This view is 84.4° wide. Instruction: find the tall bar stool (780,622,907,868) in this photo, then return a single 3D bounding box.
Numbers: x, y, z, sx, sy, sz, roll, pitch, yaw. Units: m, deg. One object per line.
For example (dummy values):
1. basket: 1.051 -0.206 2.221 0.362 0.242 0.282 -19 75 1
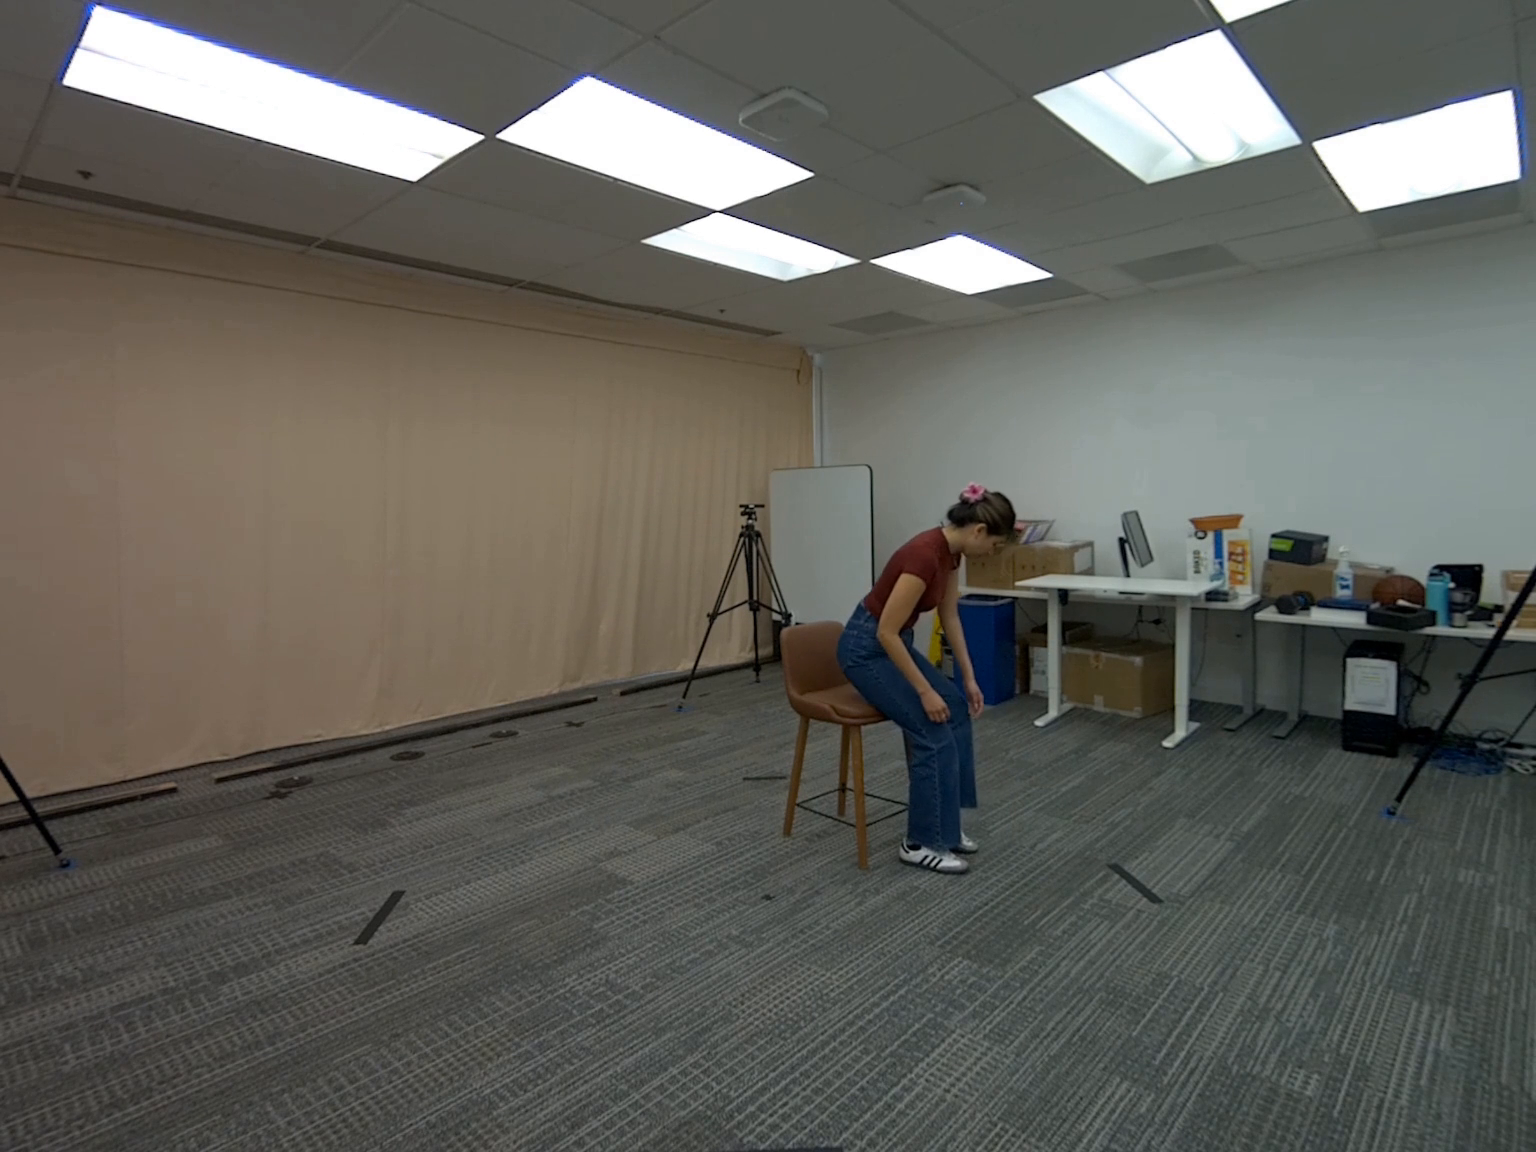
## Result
1. tall bar stool: 0.342 0.660 3.479 0.442 0.889 0.483 -3 2 -43
